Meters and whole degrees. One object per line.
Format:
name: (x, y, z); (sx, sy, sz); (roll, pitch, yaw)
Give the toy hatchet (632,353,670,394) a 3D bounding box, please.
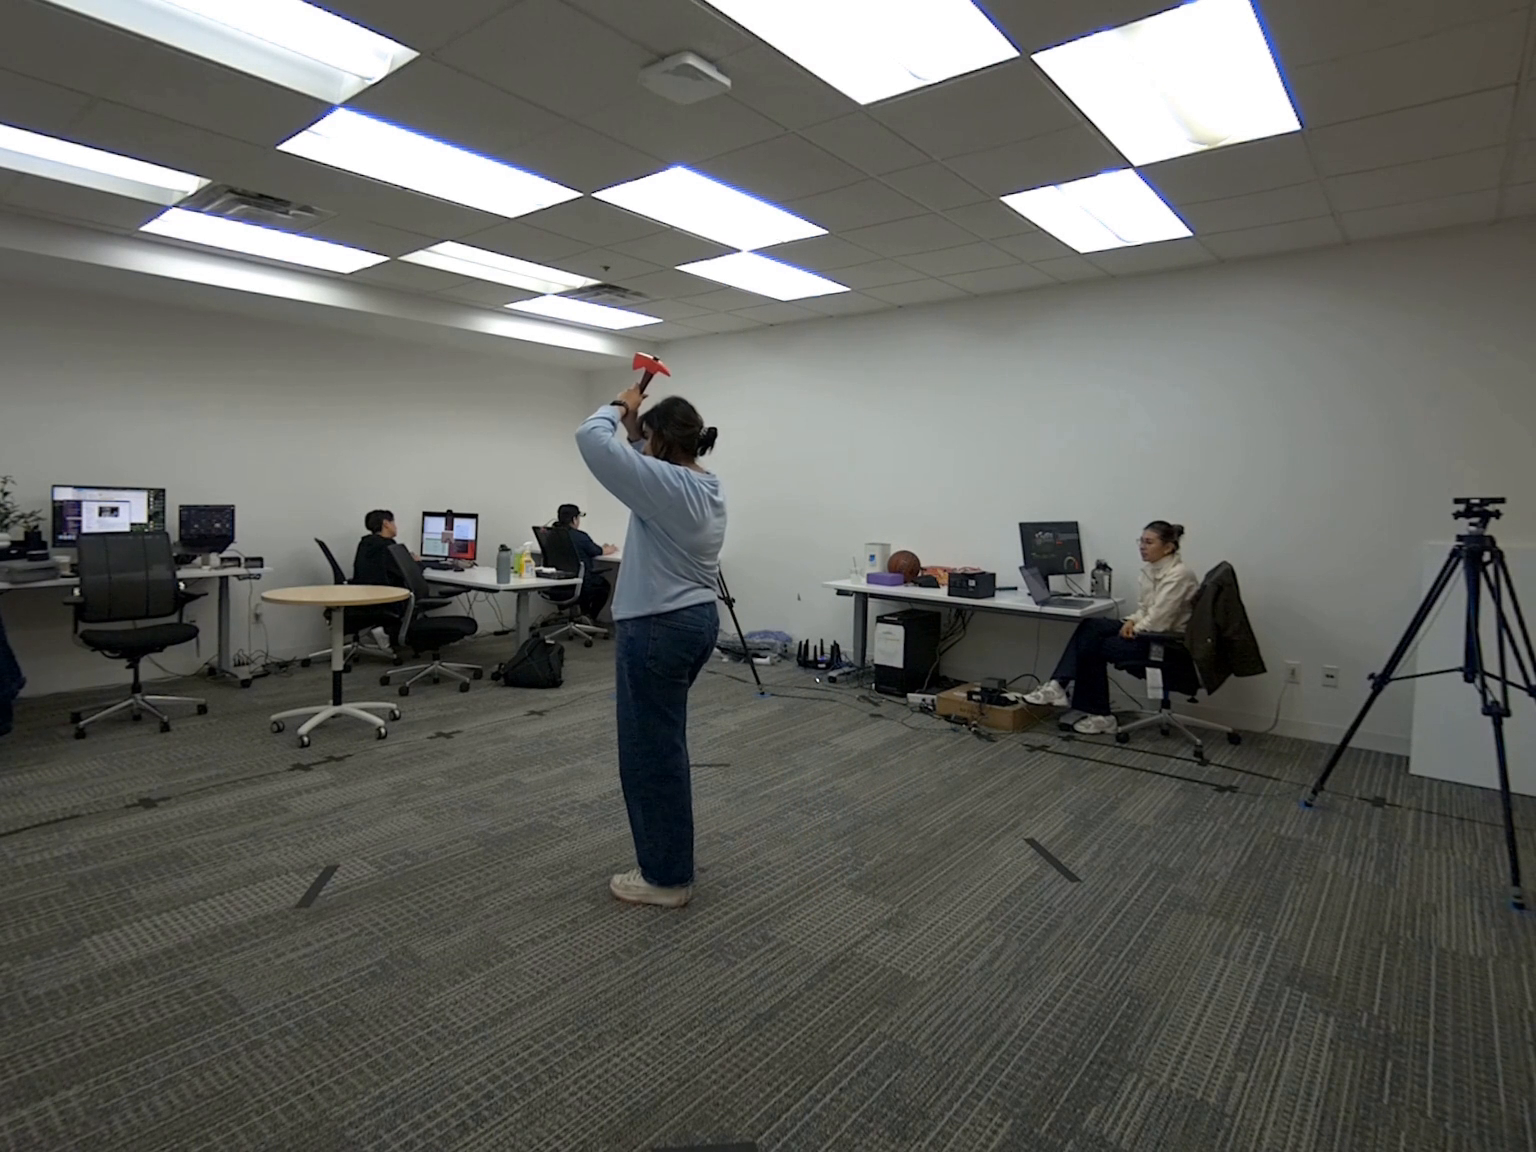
toy hatchet: (-0.465, -0.649, 2.848); (0.272, 0.129, 0.030); (-34, 14, 26)
